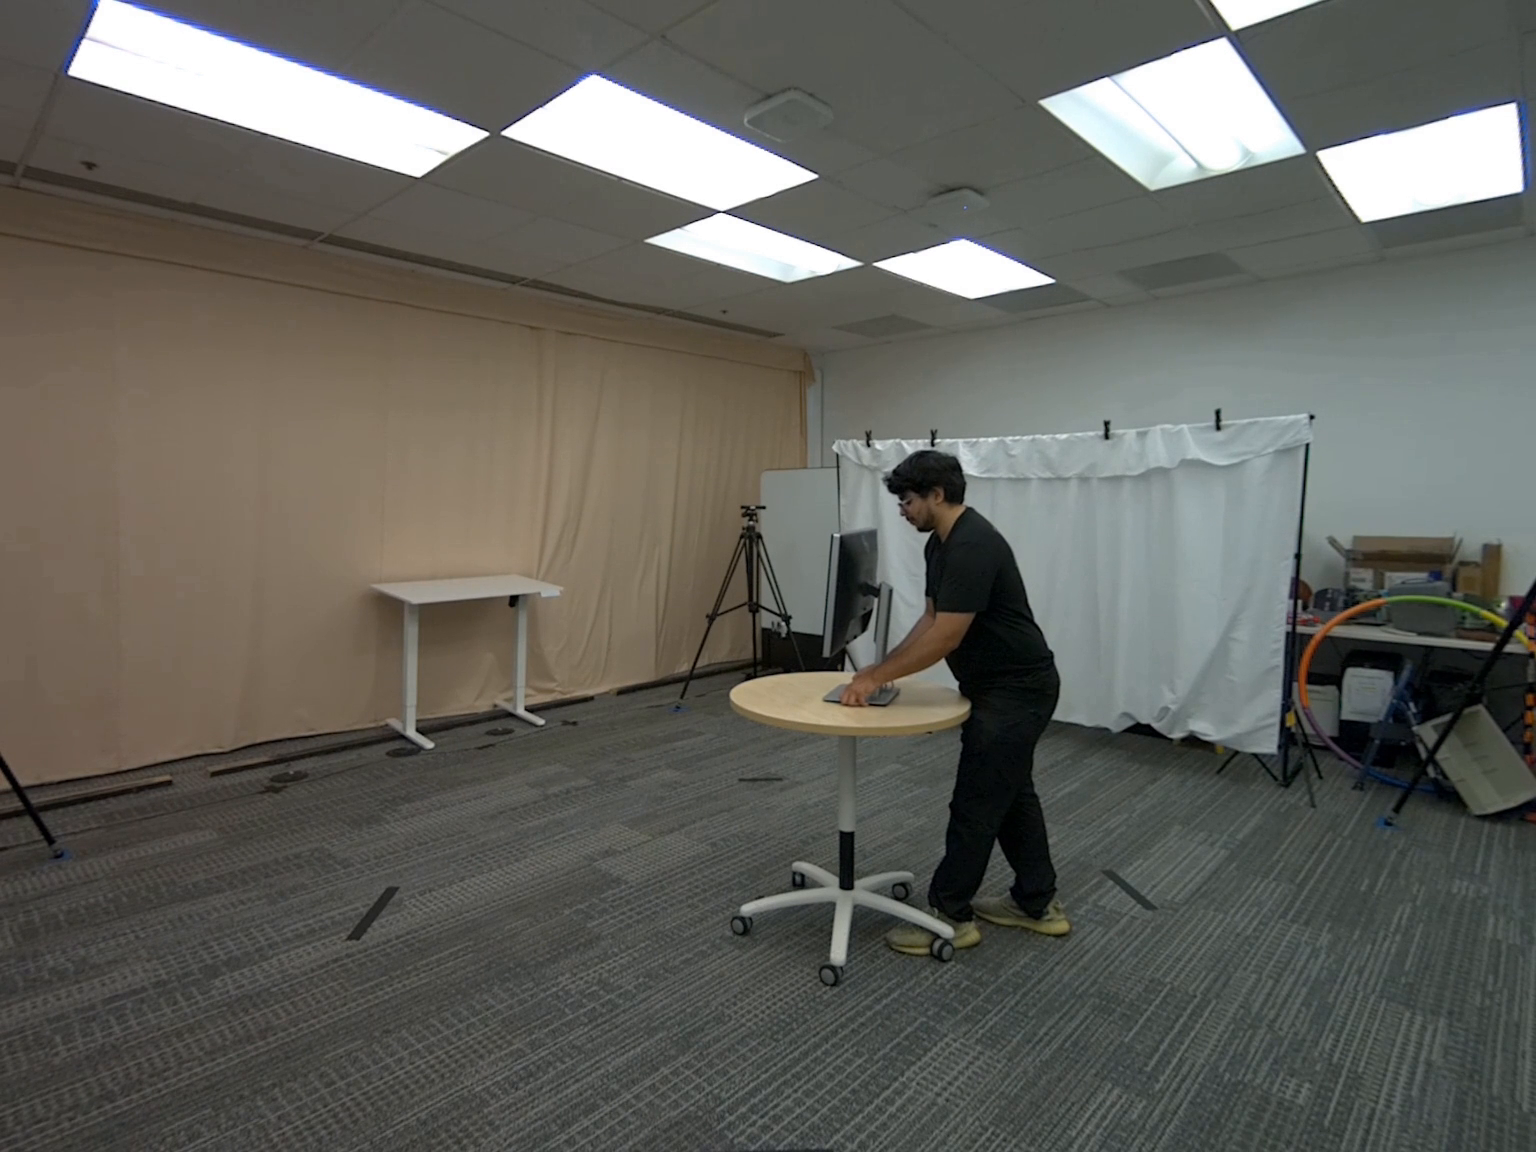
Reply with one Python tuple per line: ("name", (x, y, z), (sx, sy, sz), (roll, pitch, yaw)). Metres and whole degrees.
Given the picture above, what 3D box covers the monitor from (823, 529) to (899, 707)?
("monitor", (0.337, 0.128, 2.688), (0.215, 0.553, 0.554), (2, 4, 21))
